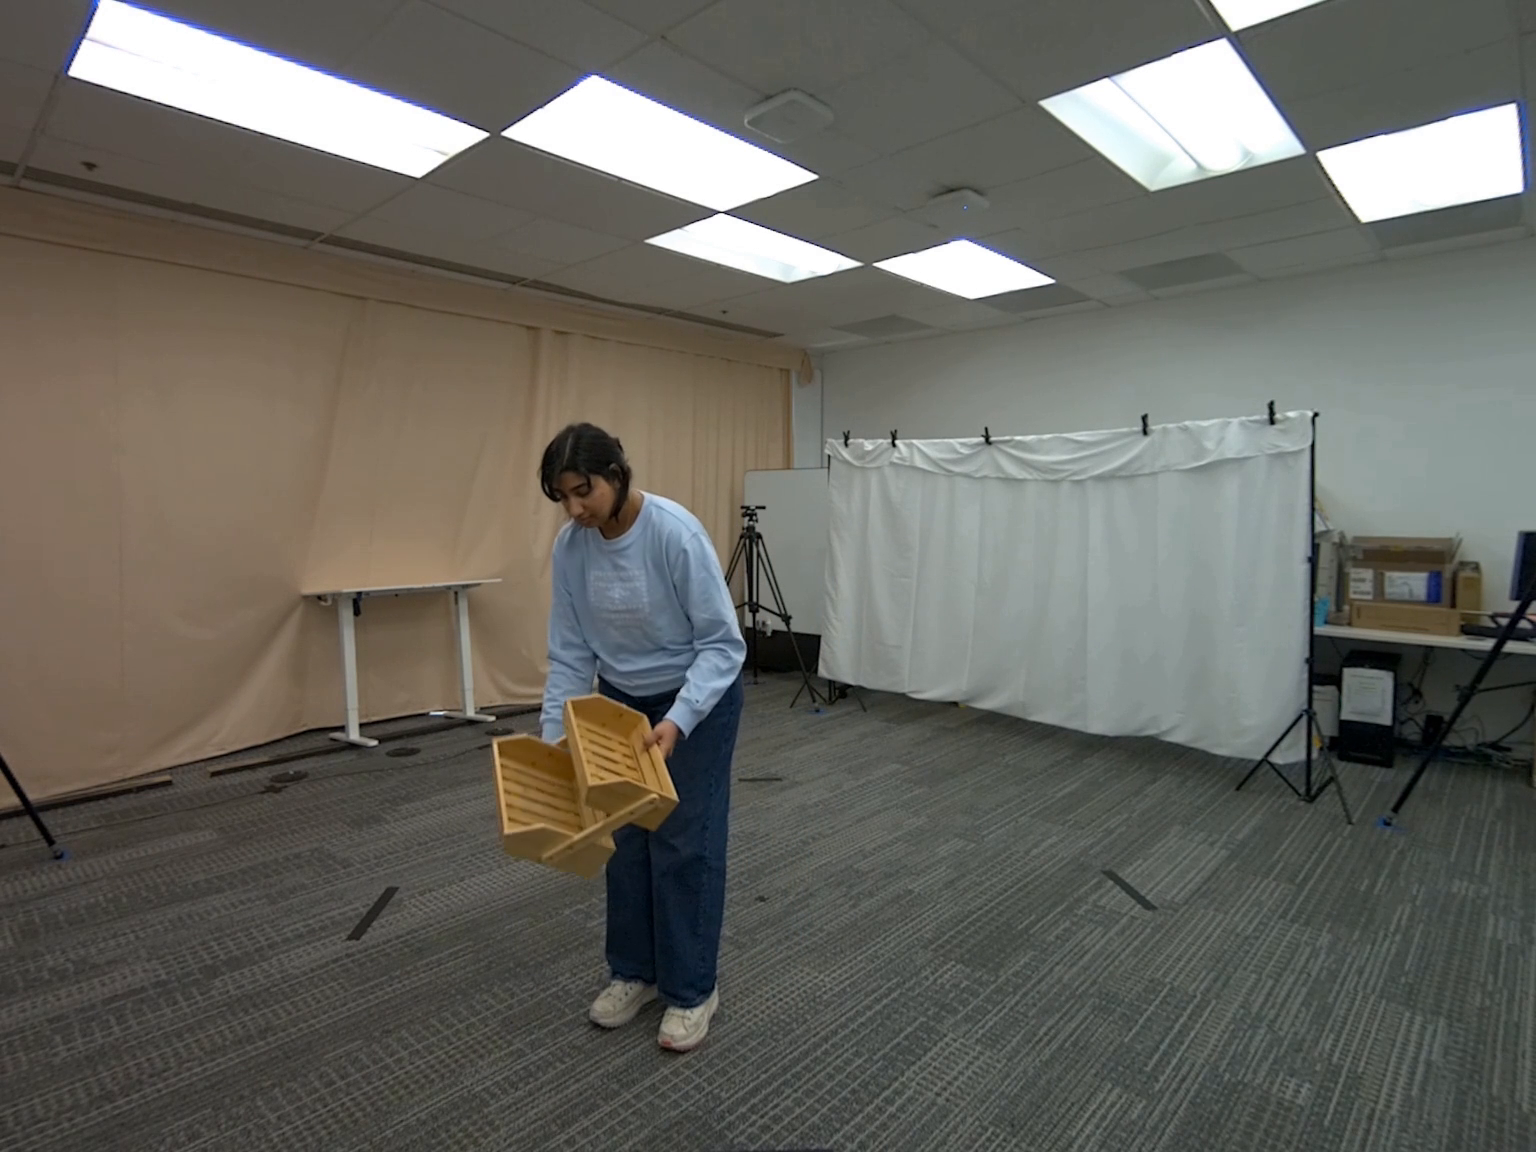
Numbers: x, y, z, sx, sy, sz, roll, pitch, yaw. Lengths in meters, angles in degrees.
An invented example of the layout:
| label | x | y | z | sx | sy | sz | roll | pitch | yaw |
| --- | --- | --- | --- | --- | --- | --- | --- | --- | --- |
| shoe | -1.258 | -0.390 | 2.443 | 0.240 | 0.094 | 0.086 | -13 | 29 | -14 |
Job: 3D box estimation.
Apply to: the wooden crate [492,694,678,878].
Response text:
| label | x | y | z | sx | sy | sz | roll | pitch | yaw |
| --- | --- | --- | --- | --- | --- | --- | --- | --- | --- |
| wooden crate | -0.430 | 0.448 | 1.885 | 0.292 | 0.274 | 0.334 | 33 | 12 | -31 |
